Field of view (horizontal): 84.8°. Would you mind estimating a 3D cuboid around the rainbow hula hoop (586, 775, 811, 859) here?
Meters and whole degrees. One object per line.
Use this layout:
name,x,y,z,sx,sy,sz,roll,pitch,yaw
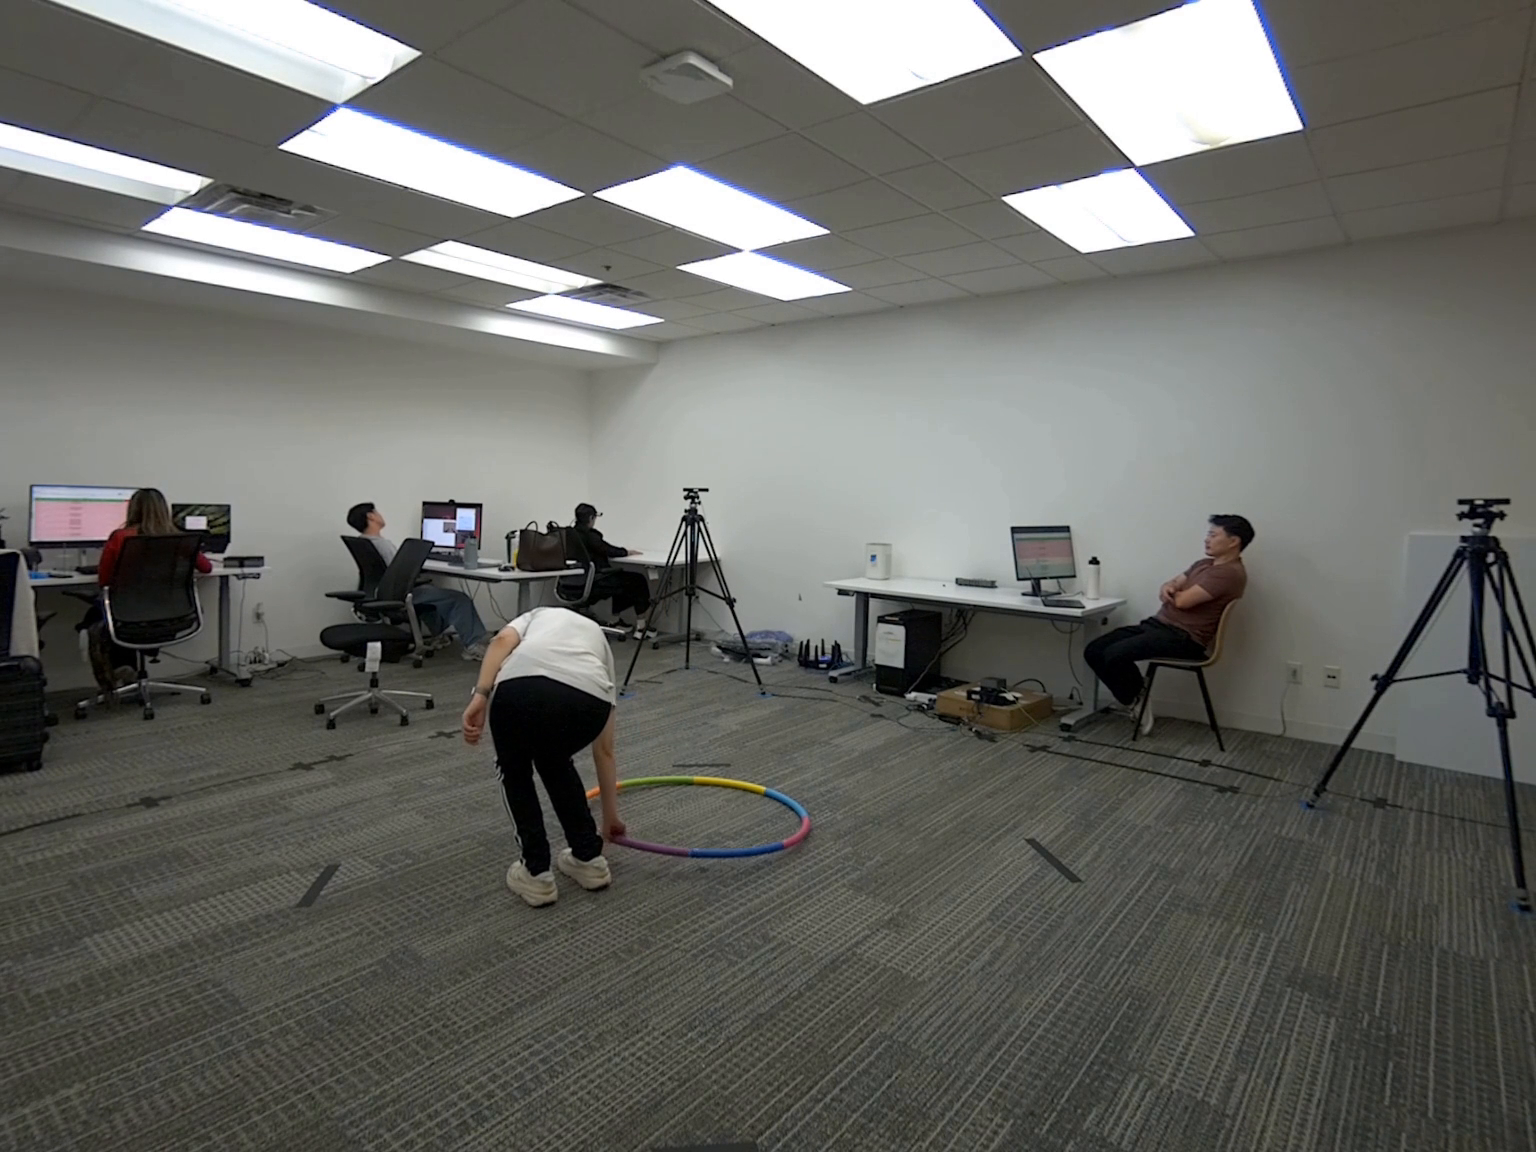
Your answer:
rainbow hula hoop,-0.326,0.968,3.534,0.978,0.035,0.981,3,2,-2
